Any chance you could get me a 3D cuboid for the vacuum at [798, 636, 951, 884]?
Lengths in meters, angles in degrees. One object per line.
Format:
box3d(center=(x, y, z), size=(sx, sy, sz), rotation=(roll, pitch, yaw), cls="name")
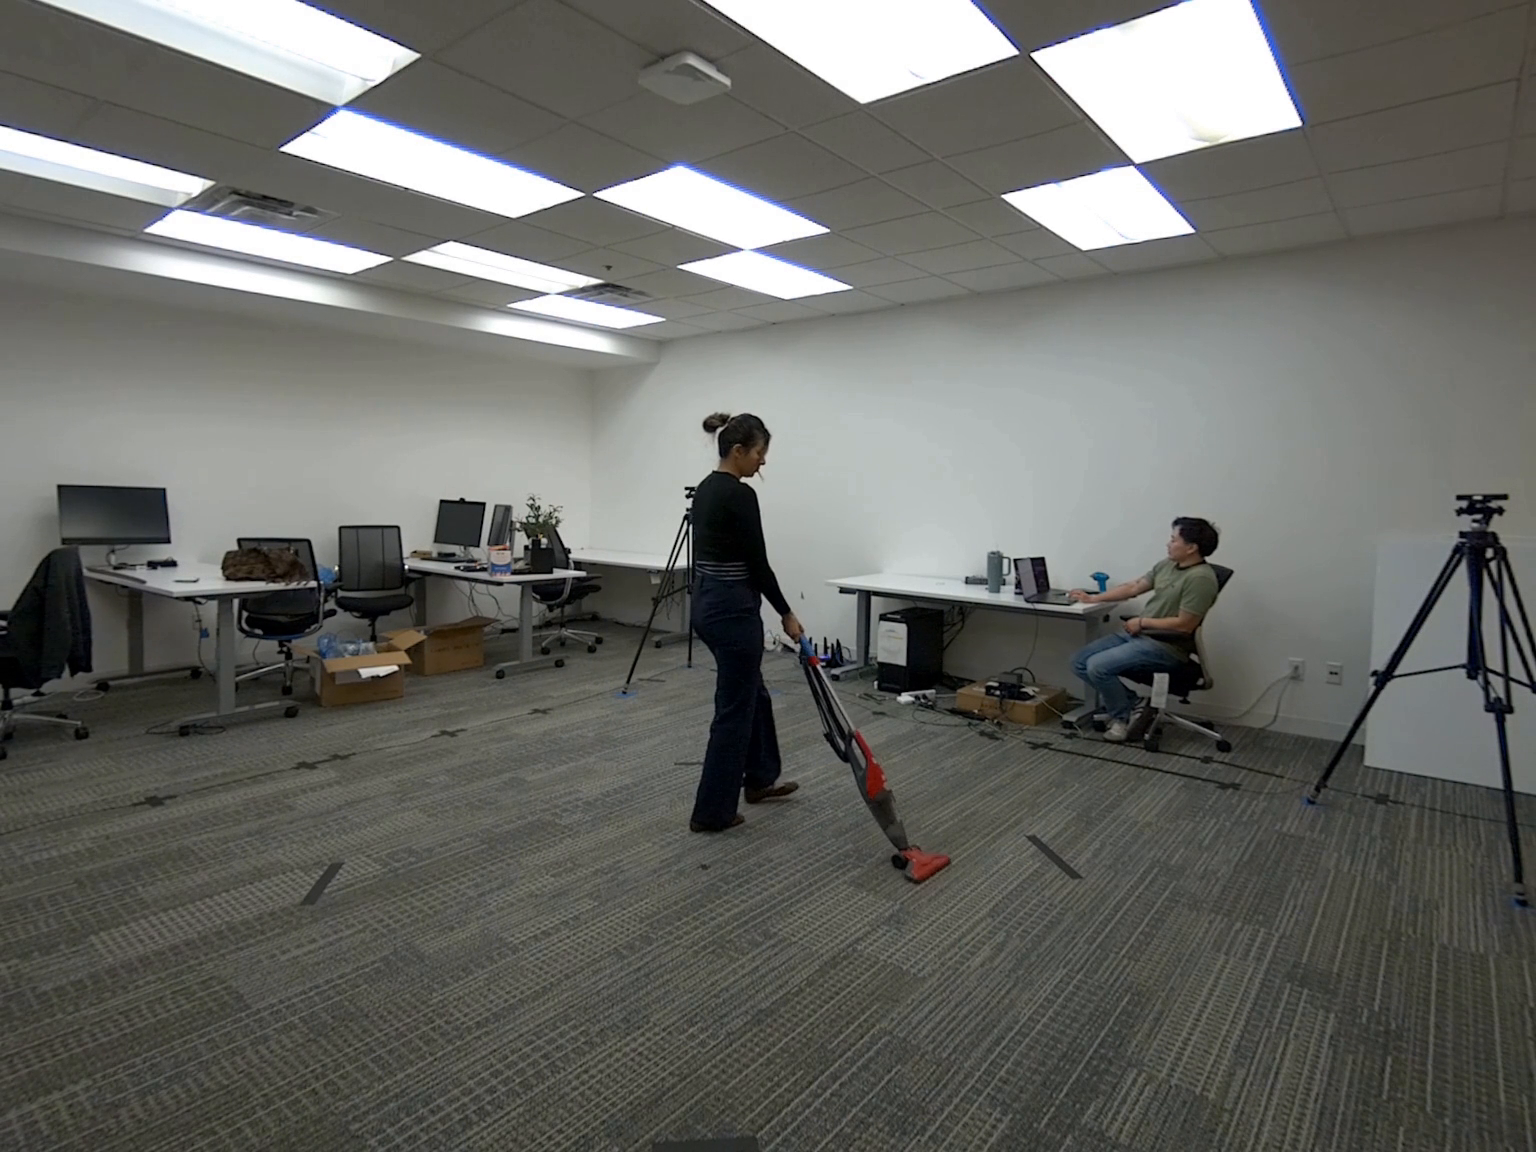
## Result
box3d(center=(0.319, 0.639, 3.343), size=(0.144, 1.080, 0.244), rotation=(-43, -26, 30), cls="vacuum")
